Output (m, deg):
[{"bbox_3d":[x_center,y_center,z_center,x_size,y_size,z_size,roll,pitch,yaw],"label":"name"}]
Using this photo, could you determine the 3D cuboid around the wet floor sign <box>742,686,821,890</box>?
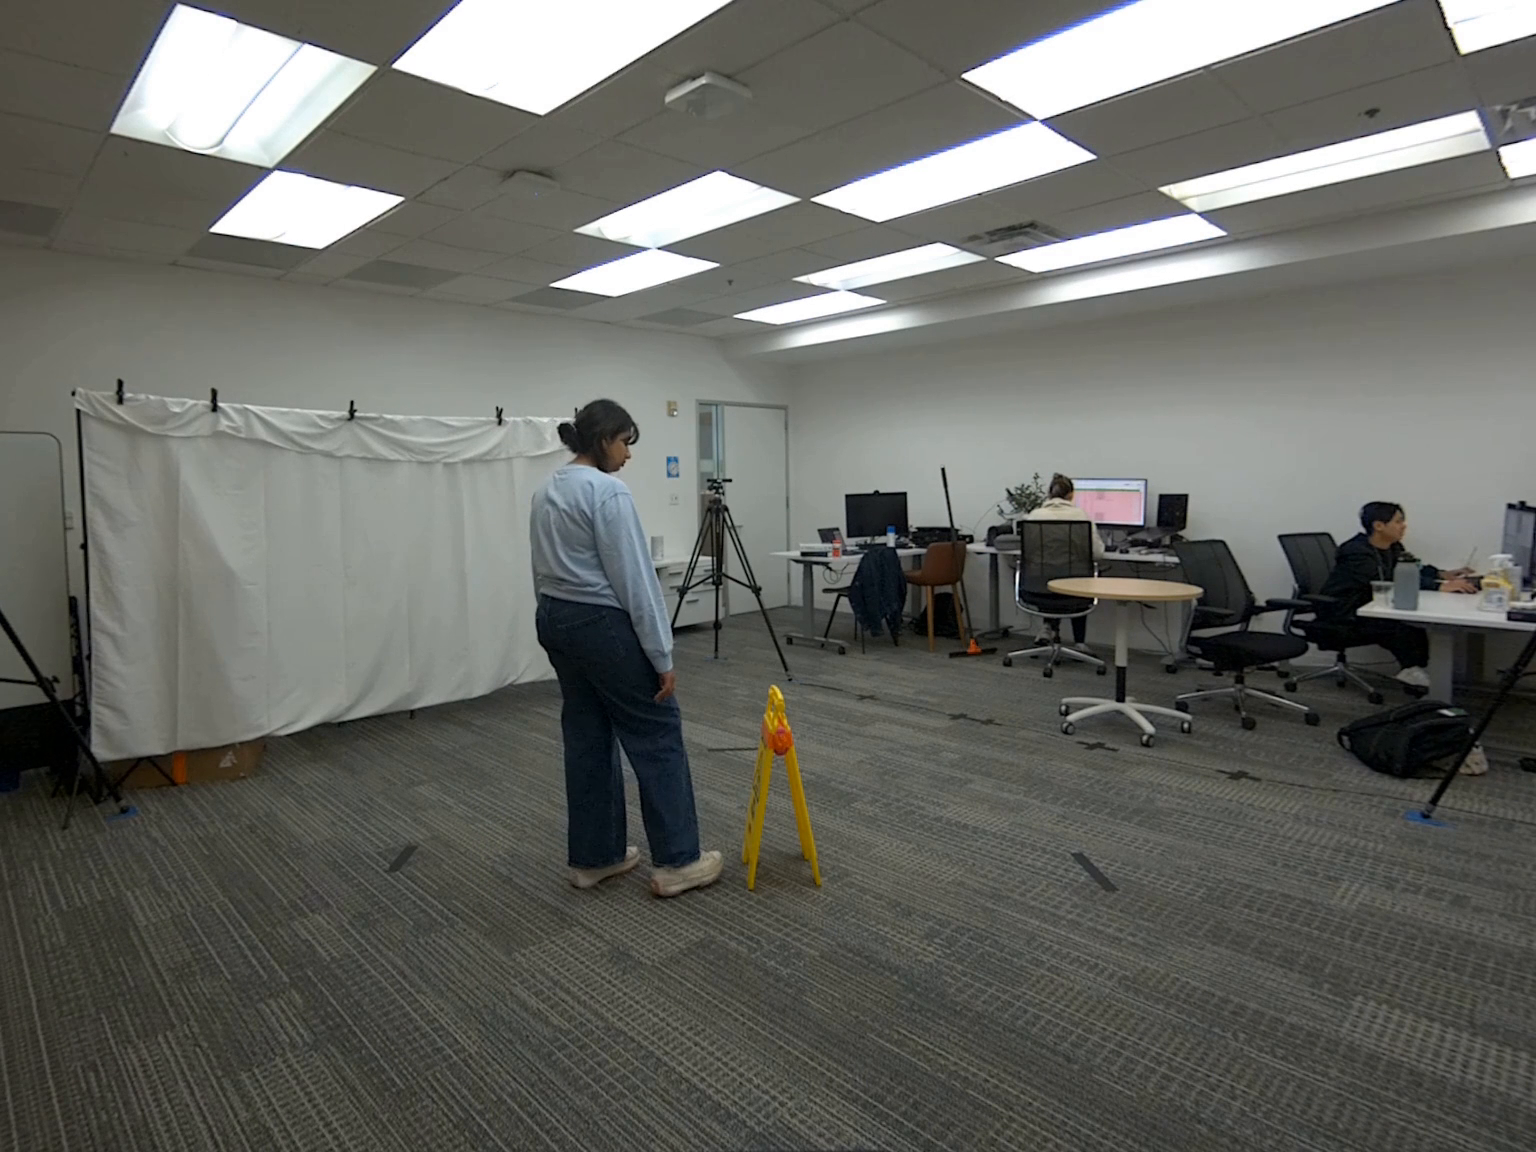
[{"bbox_3d":[0.037,0.729,3.016,0.288,0.643,0.285,0,4,-6],"label":"wet floor sign"}]
